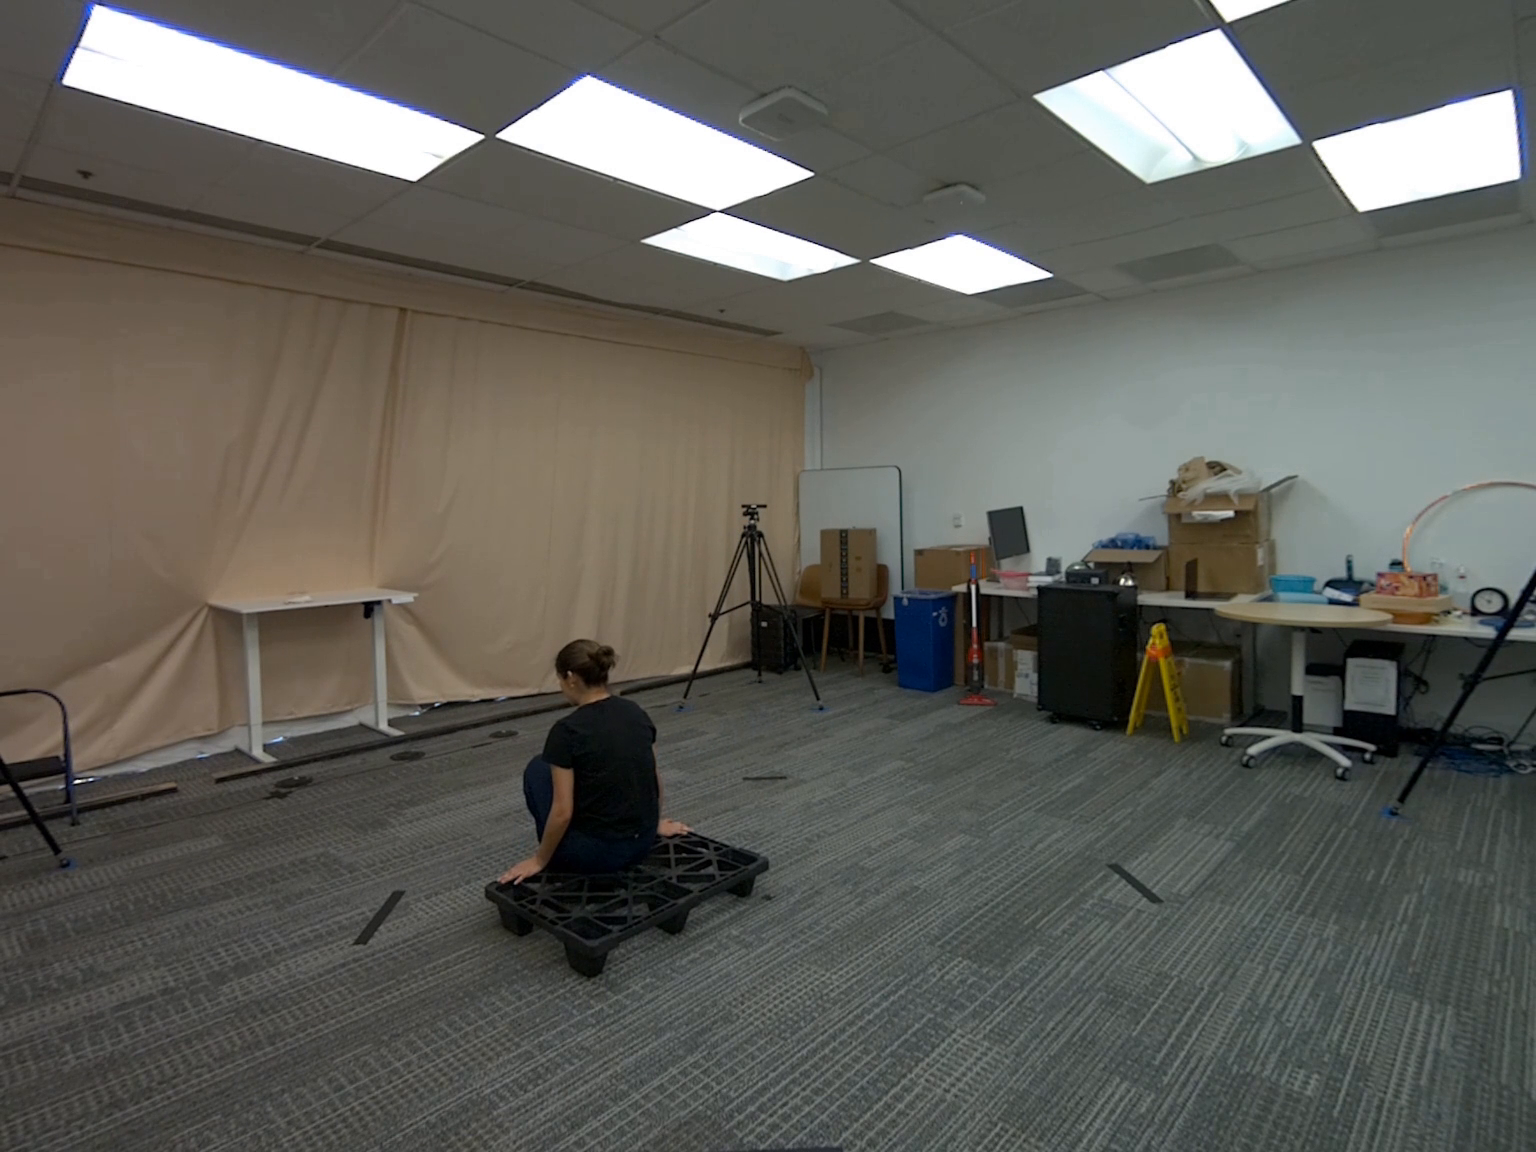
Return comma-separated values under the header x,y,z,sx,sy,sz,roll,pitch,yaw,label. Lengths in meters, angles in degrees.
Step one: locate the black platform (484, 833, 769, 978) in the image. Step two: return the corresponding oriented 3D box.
x,y,z,sx,sy,sz,roll,pitch,yaw,label
-0.446,1.090,2.907,0.625,0.143,0.781,4,7,42,black platform
